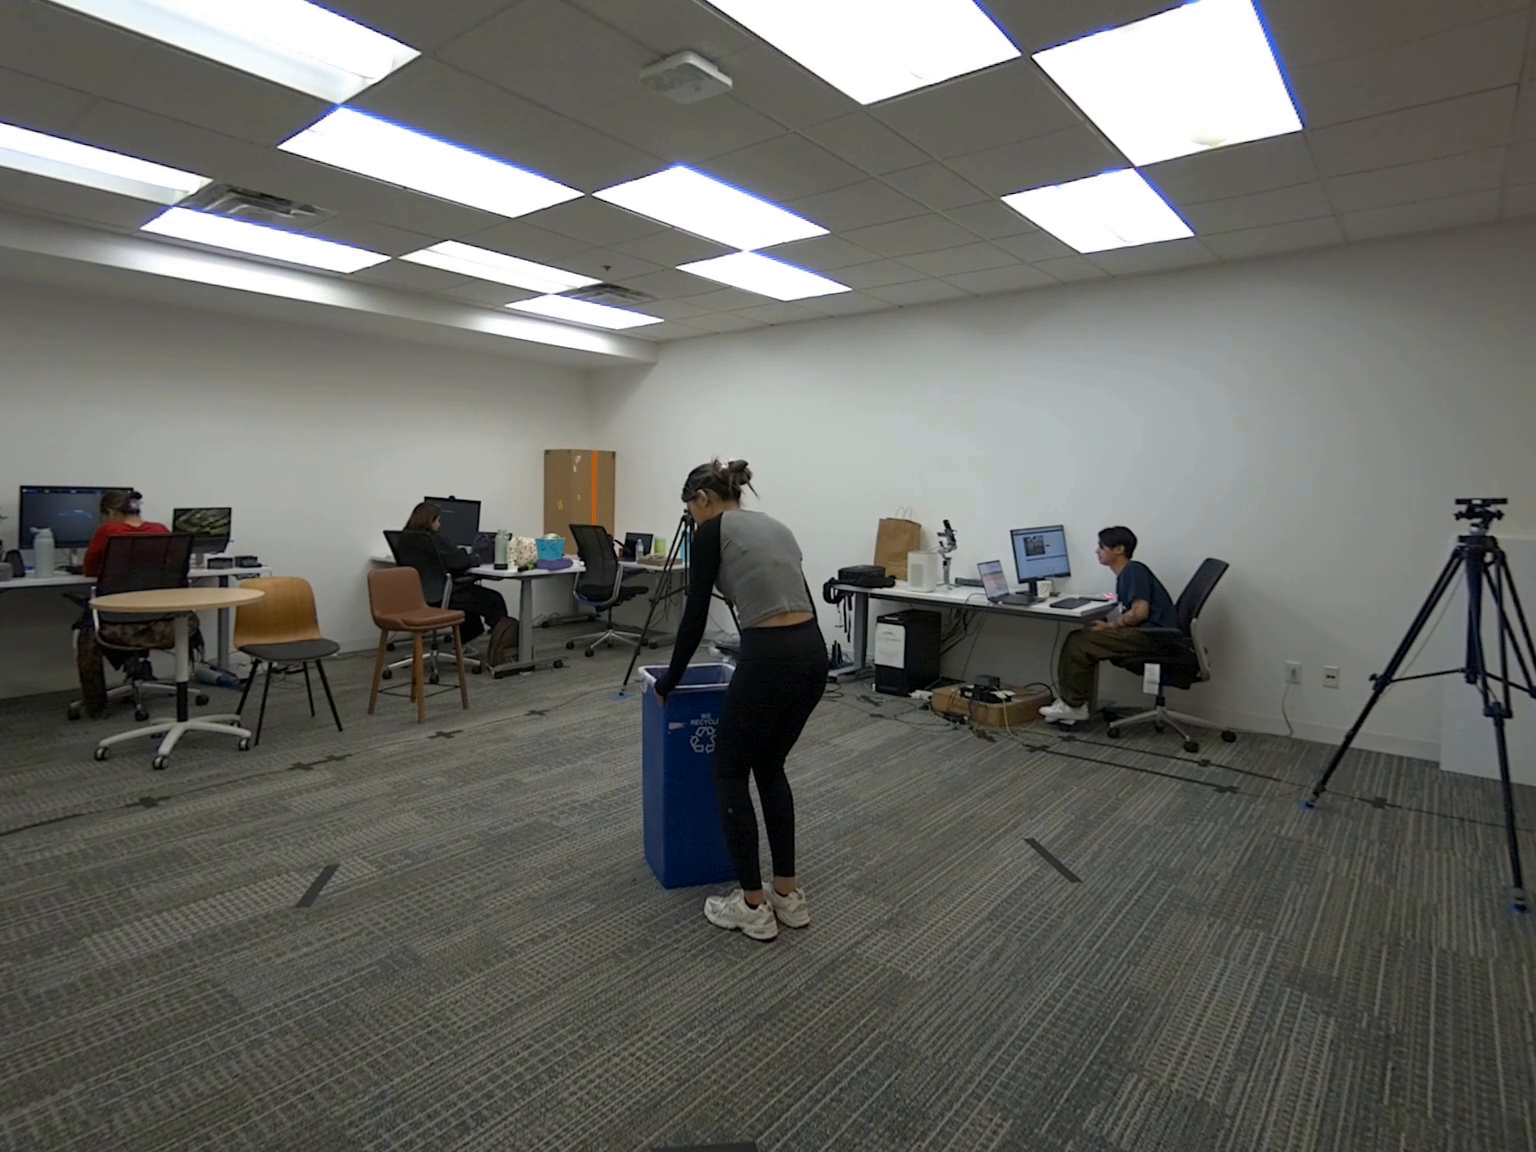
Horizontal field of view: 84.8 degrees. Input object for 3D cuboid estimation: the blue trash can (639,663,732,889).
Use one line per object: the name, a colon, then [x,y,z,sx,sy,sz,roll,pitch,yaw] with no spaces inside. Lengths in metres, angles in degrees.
blue trash can: [-0.274,0.710,3.107,0.370,0.712,0.383,0,3,-22]
